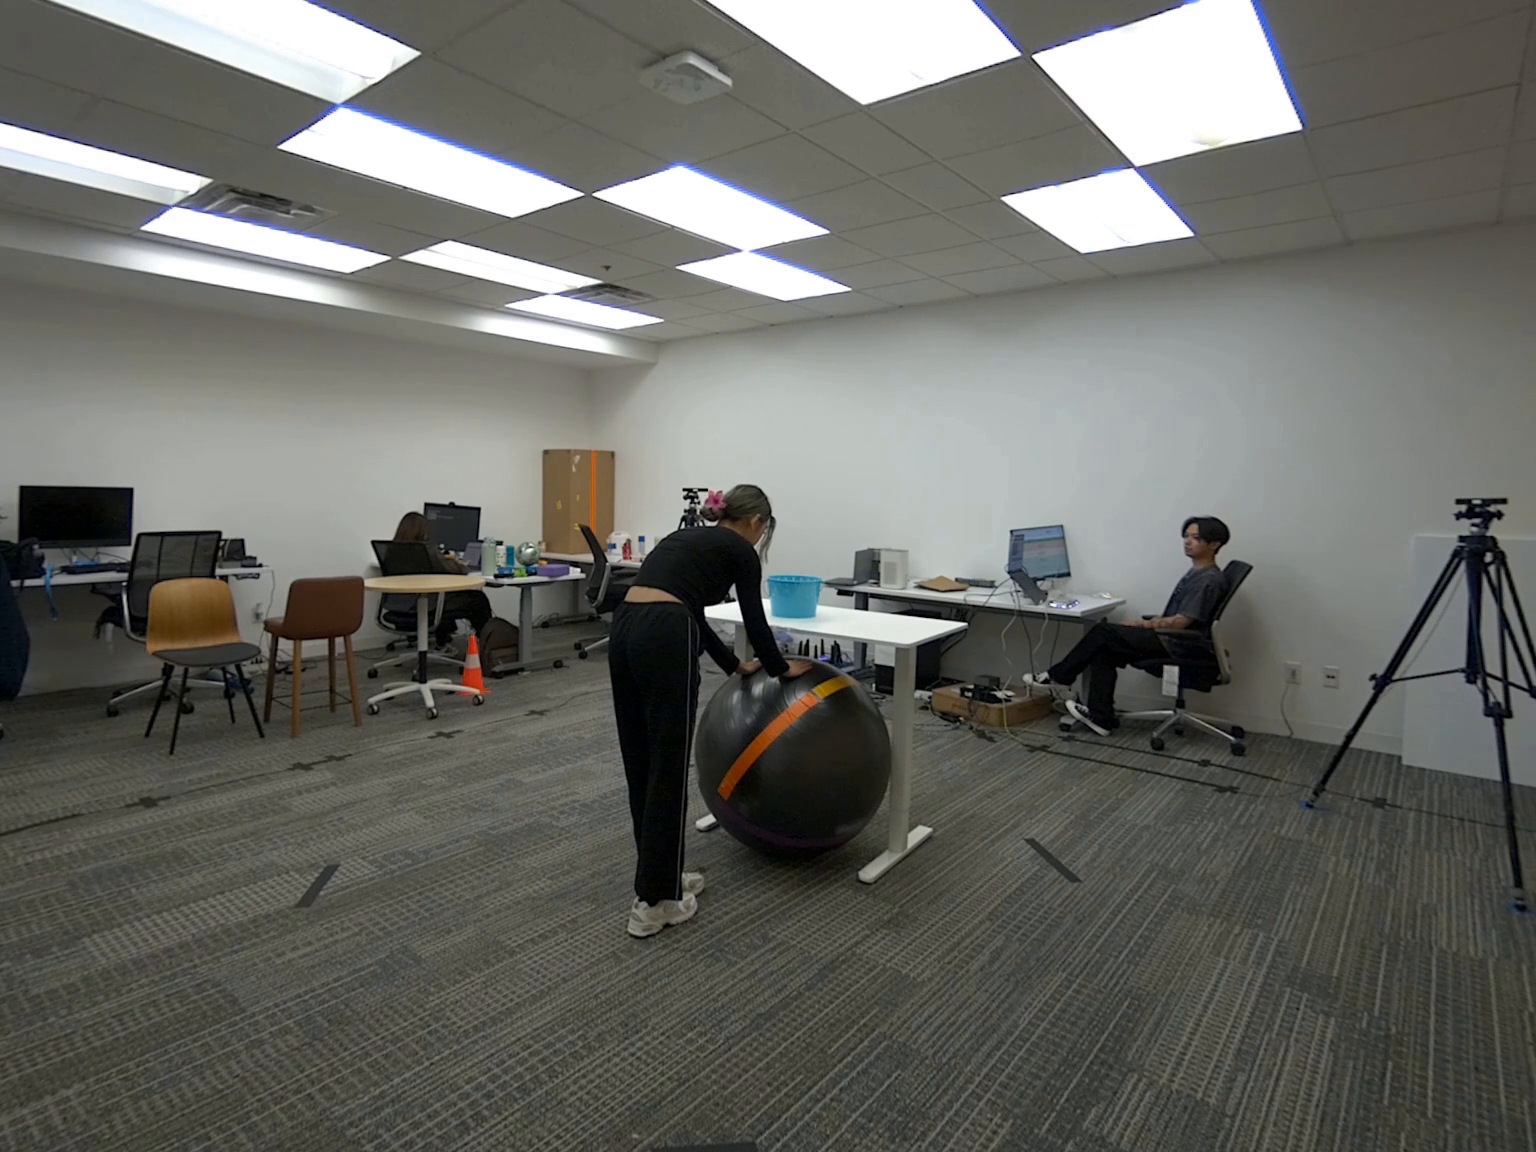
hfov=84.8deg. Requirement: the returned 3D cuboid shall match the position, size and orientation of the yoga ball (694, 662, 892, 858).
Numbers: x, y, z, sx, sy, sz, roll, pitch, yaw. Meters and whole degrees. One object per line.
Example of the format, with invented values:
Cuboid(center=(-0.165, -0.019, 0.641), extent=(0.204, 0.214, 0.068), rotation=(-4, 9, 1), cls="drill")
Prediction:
Cuboid(center=(0.091, 0.692, 3.290), extent=(0.757, 0.756, 0.761), rotation=(1, 4, -2), cls="yoga ball")
